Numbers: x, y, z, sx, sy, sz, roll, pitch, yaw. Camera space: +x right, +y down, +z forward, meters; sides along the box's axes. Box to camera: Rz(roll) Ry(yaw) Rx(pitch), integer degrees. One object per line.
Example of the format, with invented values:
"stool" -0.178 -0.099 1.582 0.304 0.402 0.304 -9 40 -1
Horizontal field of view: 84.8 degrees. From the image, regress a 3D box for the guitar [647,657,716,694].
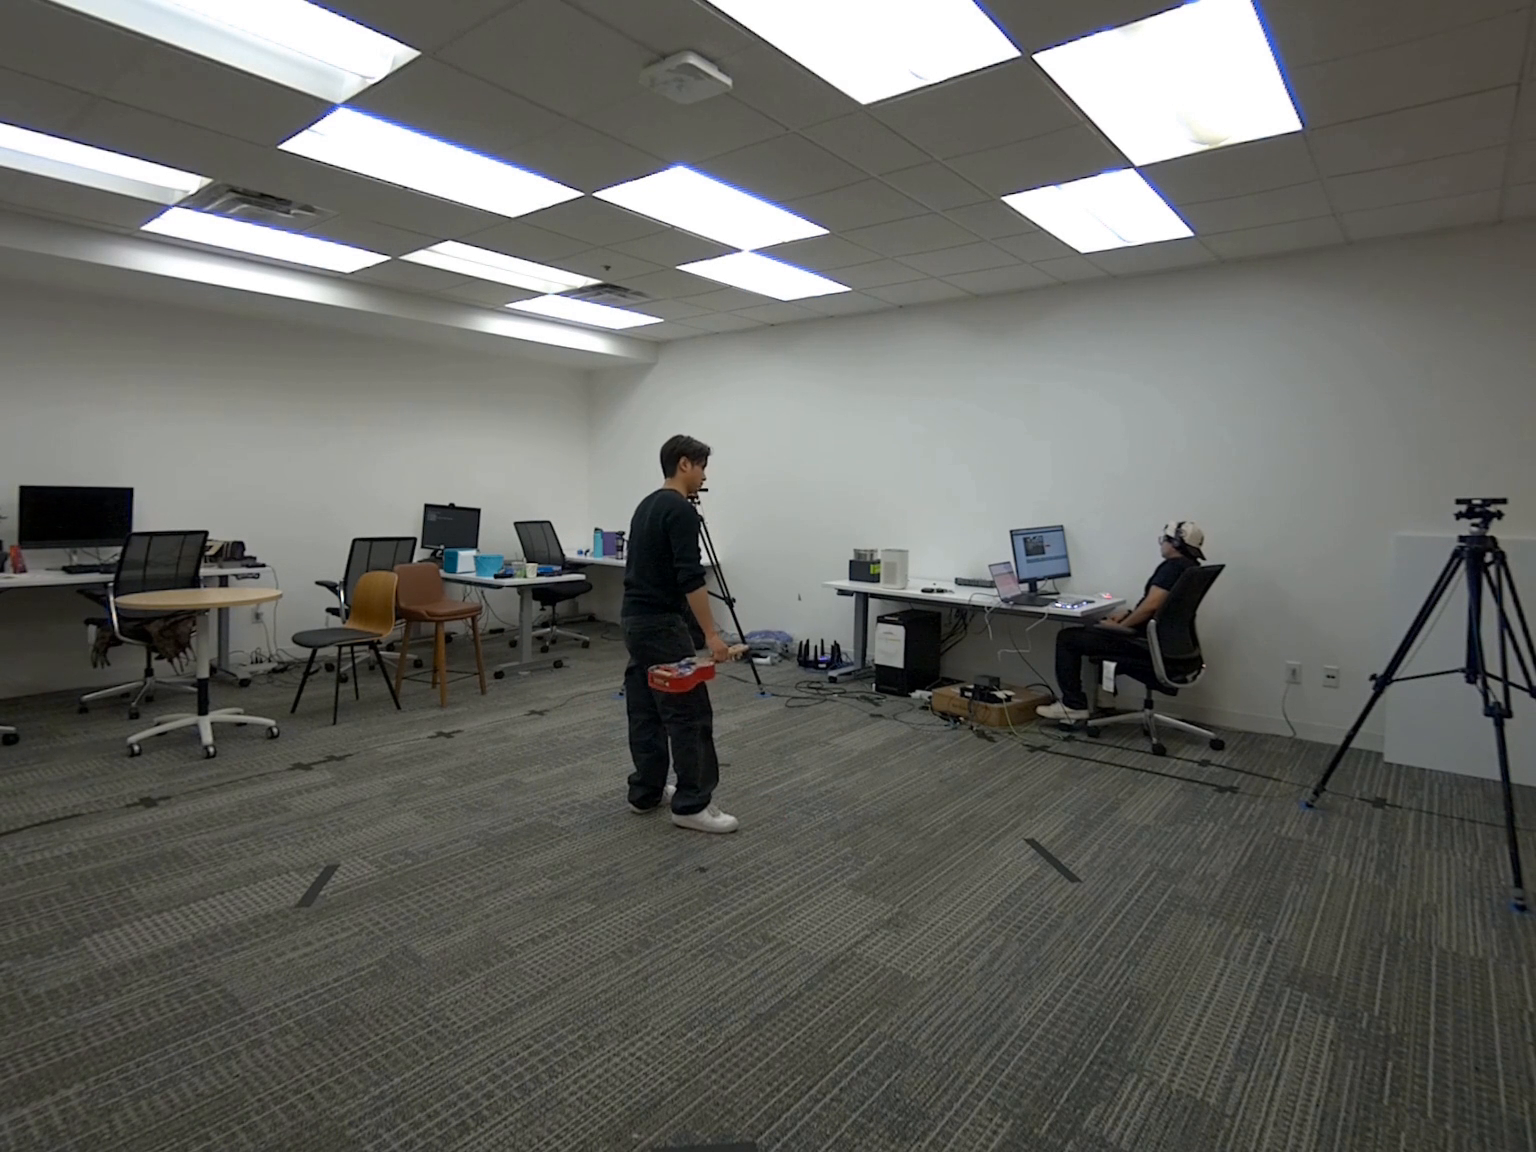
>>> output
"guitar" -0.250 0.363 3.373 0.485 0.070 0.200 -10 13 -38
